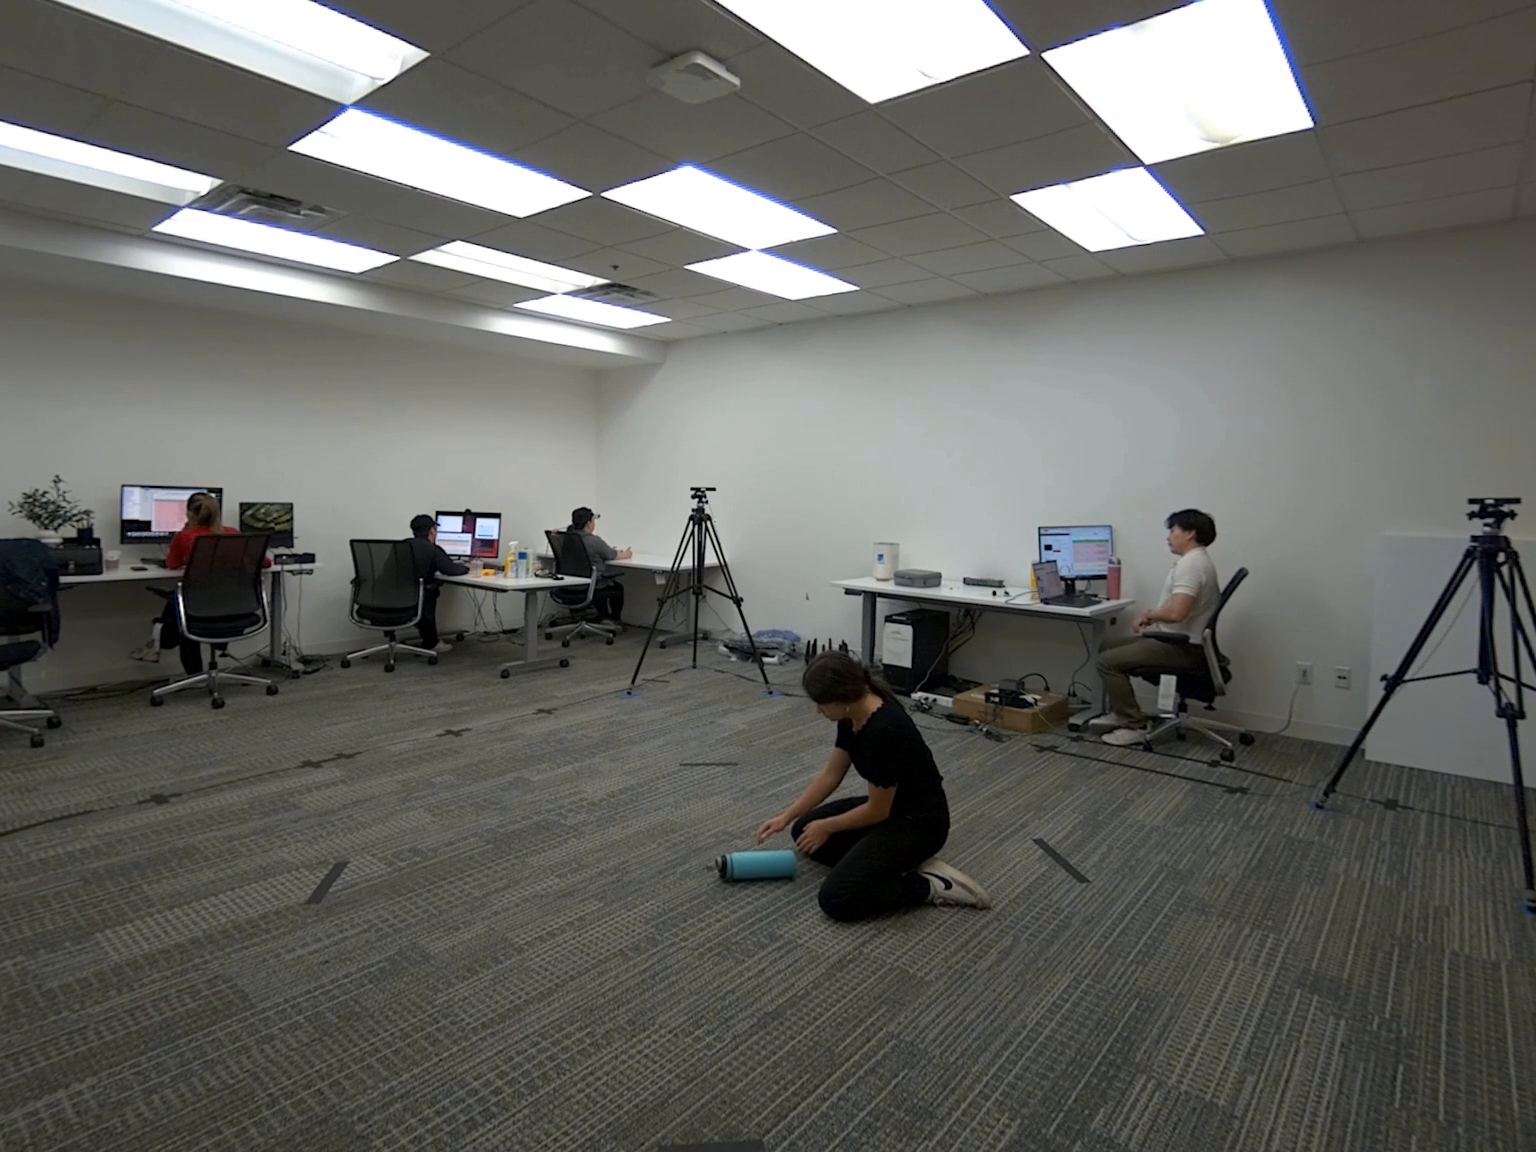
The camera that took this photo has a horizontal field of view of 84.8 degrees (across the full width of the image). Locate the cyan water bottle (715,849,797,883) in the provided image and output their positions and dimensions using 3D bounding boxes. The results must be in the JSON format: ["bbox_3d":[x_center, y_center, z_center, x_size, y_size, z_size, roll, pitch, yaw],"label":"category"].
[{"bbox_3d":[-0.056,1.032,3.038,0.280,0.092,0.094,1,4,-12],"label":"cyan water bottle"}]
